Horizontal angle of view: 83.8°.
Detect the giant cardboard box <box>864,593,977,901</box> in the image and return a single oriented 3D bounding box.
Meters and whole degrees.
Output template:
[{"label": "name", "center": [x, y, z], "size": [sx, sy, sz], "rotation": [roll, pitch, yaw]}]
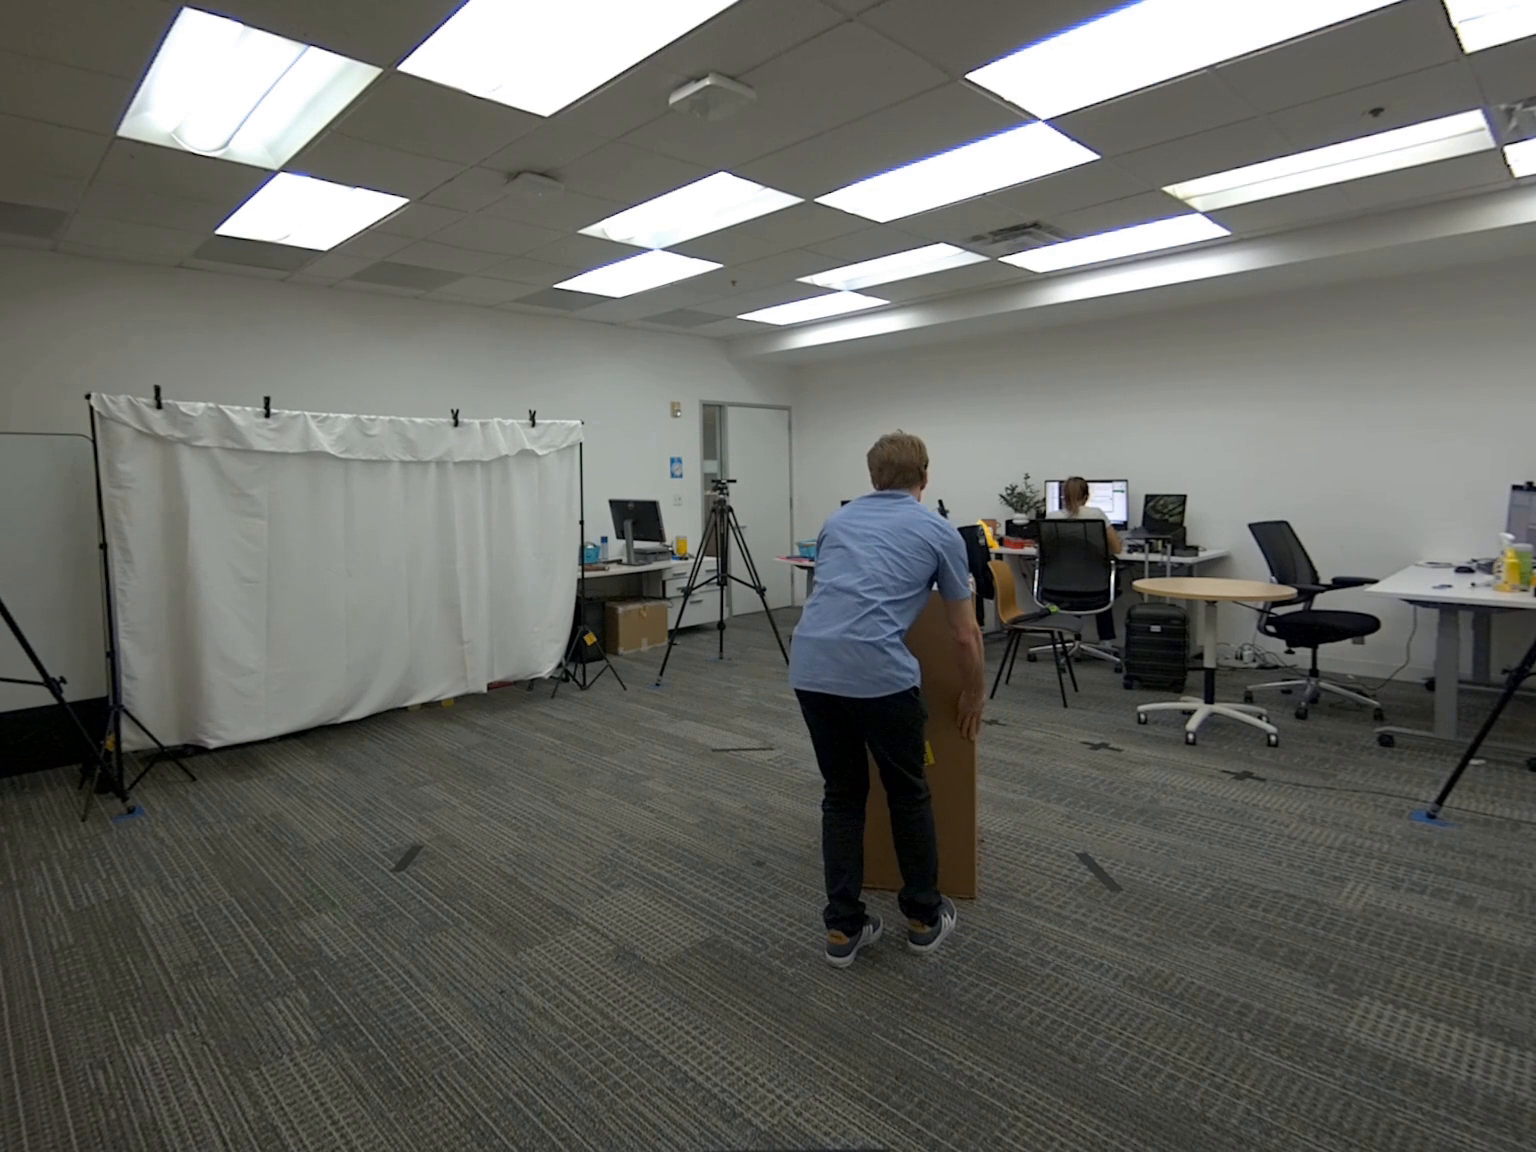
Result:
[{"label": "giant cardboard box", "center": [0.539, 0.525, 3.118], "size": [0.432, 1.023, 0.571], "rotation": [0, 3, 14]}]
